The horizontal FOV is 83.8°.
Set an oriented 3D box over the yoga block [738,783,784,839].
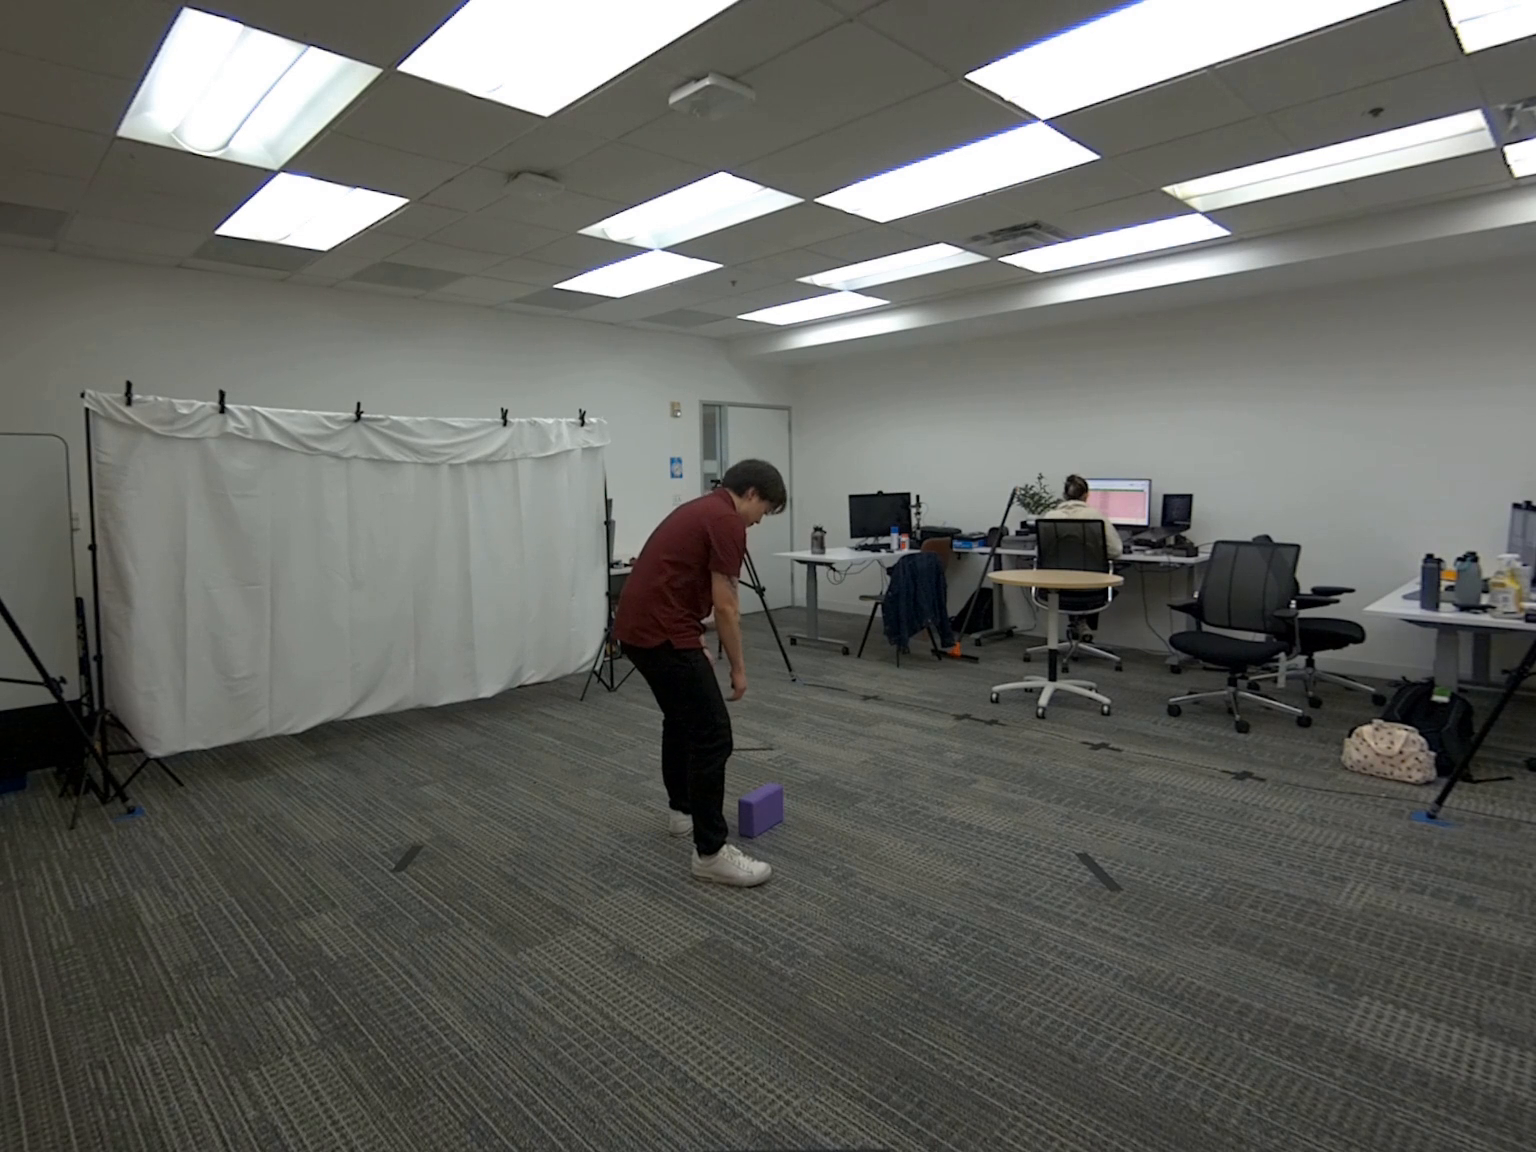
[{"bbox_3d":[-0.029,0.931,3.427,0.078,0.148,0.224,2,6,33],"label":"yoga block"}]
